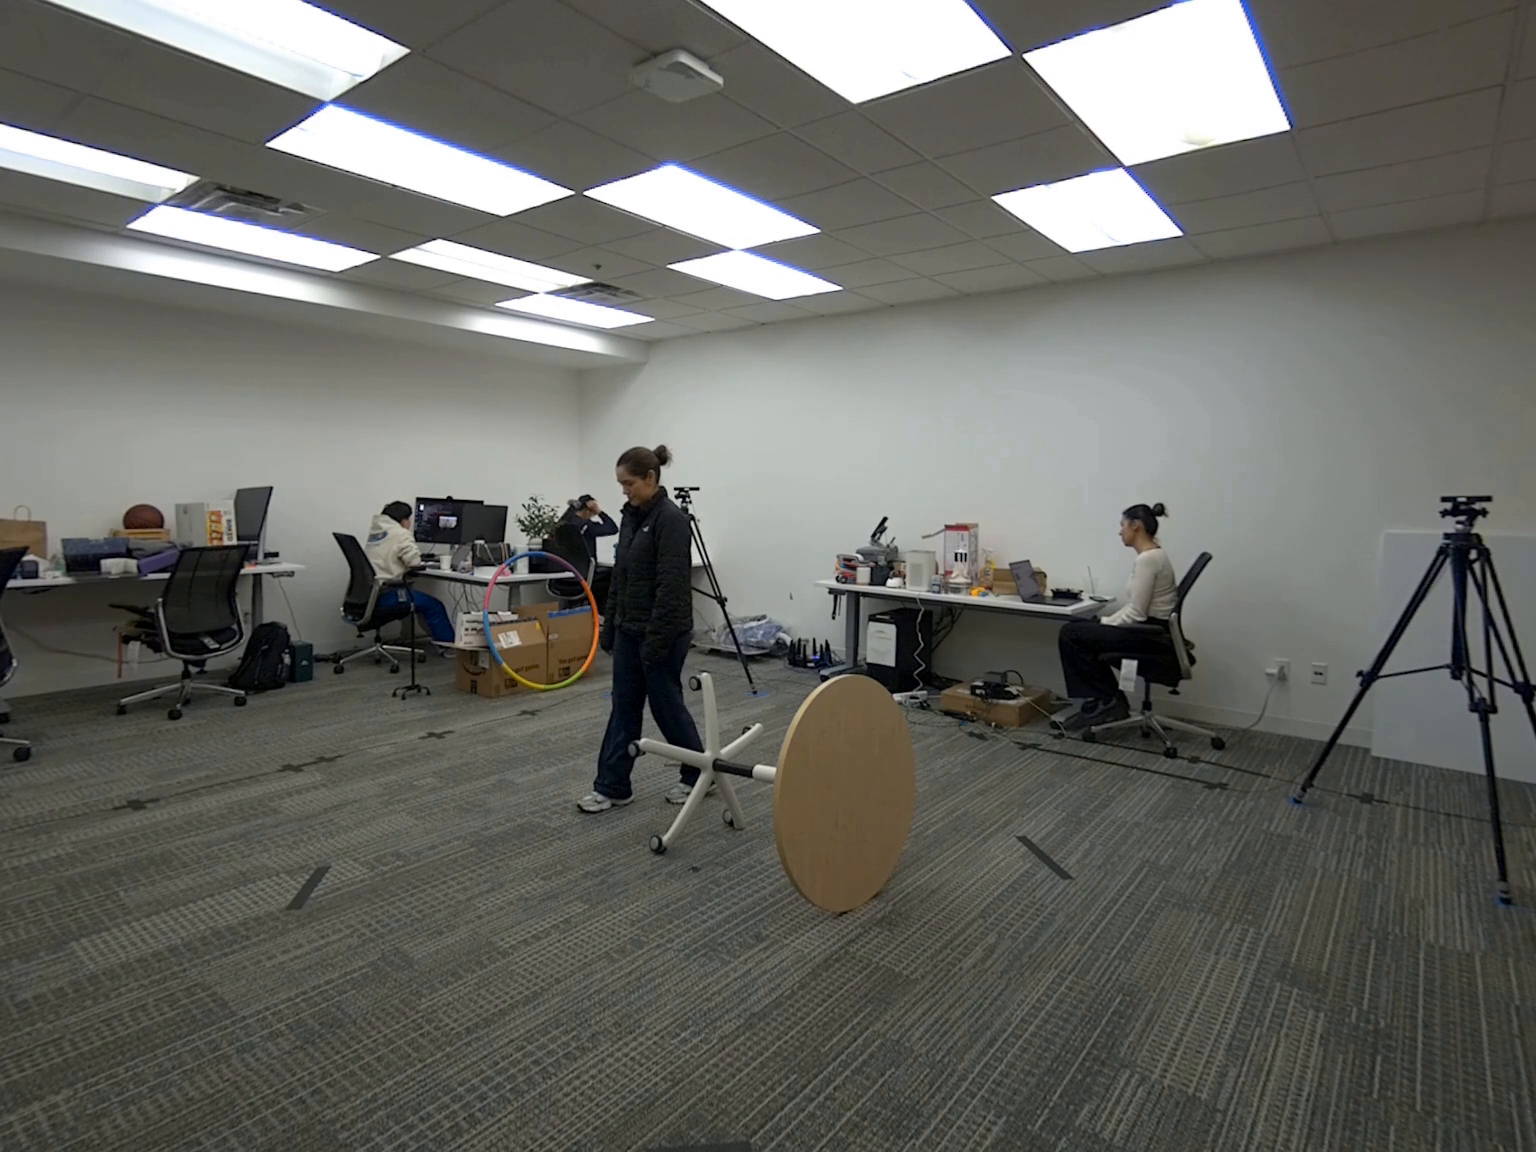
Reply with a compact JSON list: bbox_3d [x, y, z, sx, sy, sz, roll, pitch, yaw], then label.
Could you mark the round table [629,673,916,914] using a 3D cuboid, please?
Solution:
[{"bbox_3d":[0.011,0.726,3.157,0.810,0.786,0.761,-3,1,44],"label":"round table"}]
